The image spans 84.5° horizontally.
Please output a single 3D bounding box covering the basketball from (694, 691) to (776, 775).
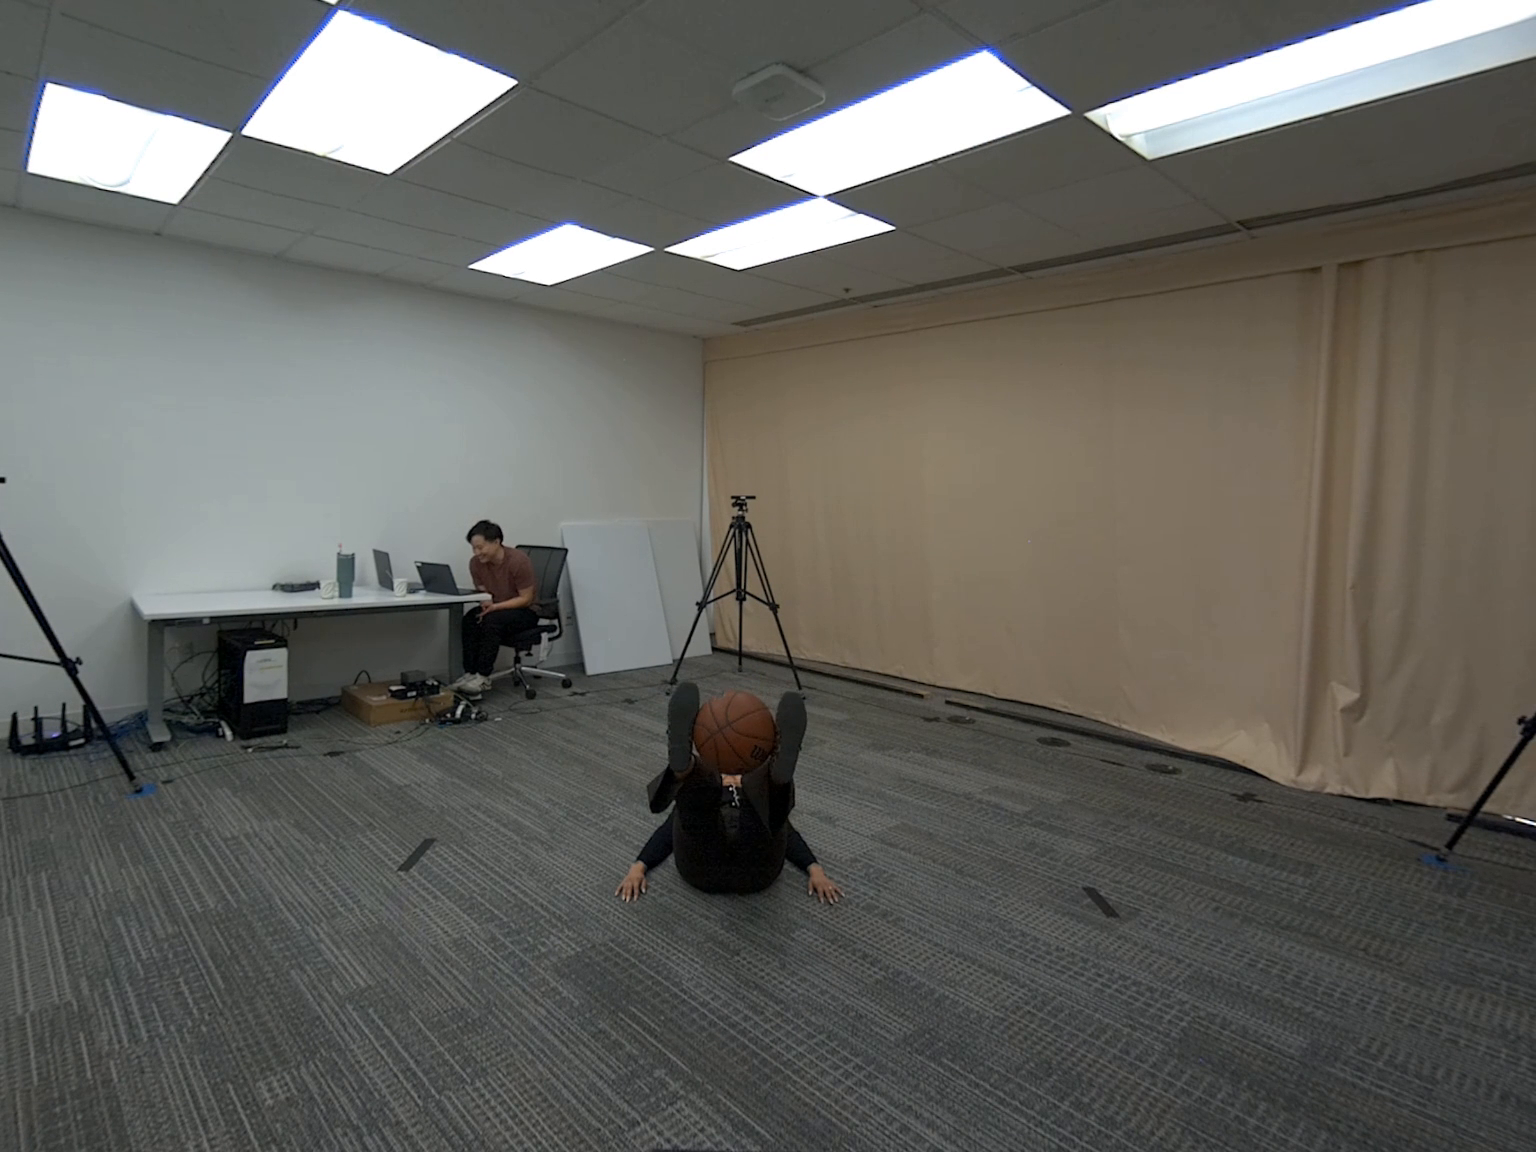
[{"bbox_3d":[-0.102,0.441,2.387,0.235,0.235,0.237,4,5,-2],"label":"basketball"}]
